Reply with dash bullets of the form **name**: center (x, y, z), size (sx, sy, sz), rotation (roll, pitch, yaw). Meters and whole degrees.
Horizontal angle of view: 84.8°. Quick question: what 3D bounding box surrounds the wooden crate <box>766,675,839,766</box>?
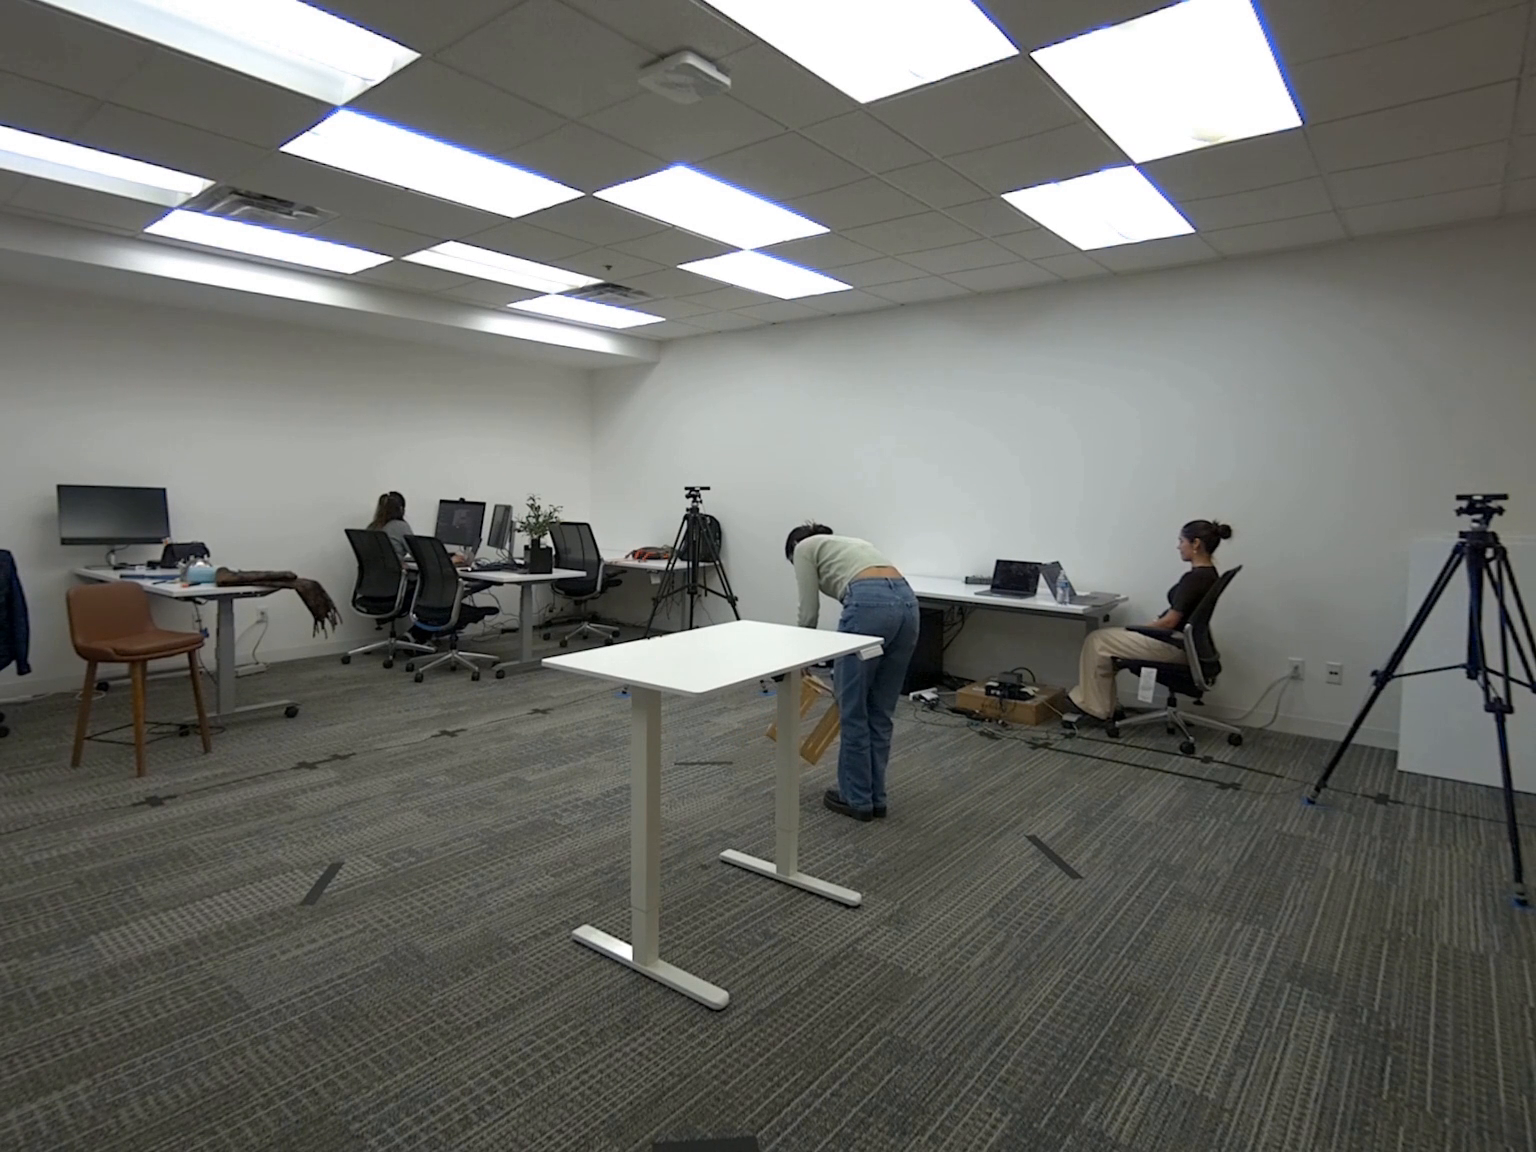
- **wooden crate**: center (0.188, 0.637, 3.894), size (0.276, 0.324, 0.300), rotation (35, 9, 6)
